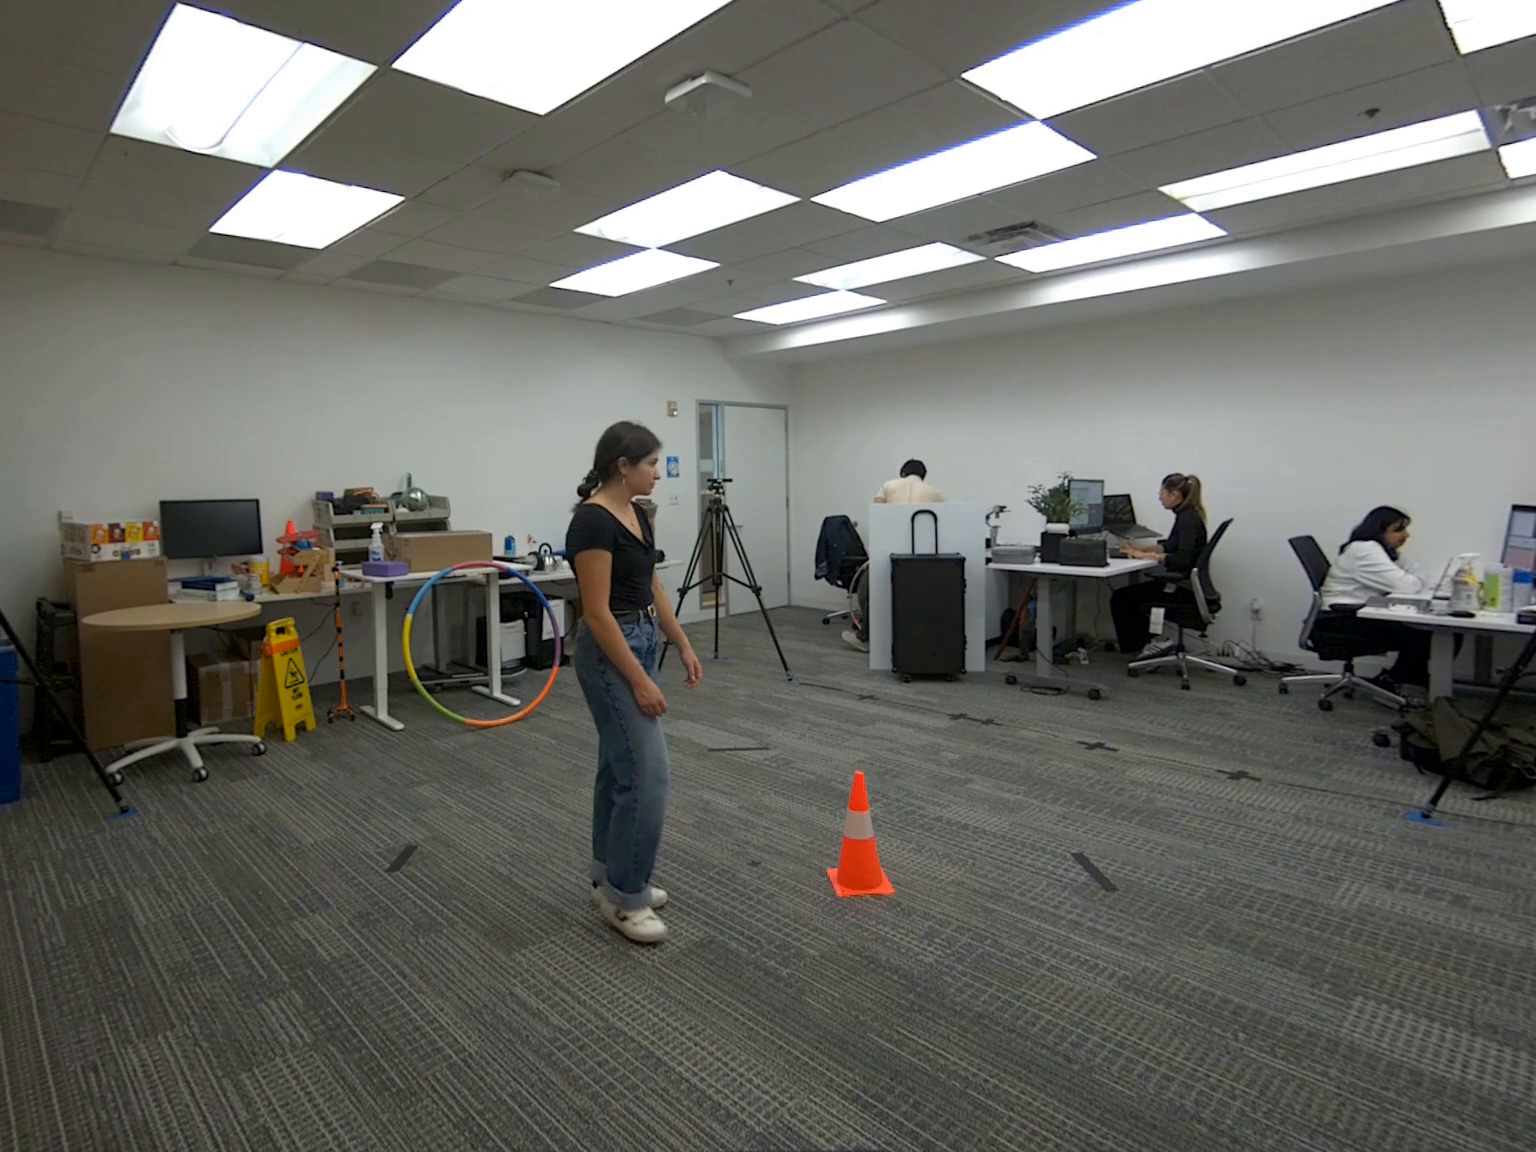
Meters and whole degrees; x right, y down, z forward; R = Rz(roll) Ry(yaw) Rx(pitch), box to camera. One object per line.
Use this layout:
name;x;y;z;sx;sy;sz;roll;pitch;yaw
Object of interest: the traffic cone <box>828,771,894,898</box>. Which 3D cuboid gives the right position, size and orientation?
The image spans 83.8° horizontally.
traffic cone;0.312;0.872;2.950;0.204;0.383;0.205;-3;3;-8
